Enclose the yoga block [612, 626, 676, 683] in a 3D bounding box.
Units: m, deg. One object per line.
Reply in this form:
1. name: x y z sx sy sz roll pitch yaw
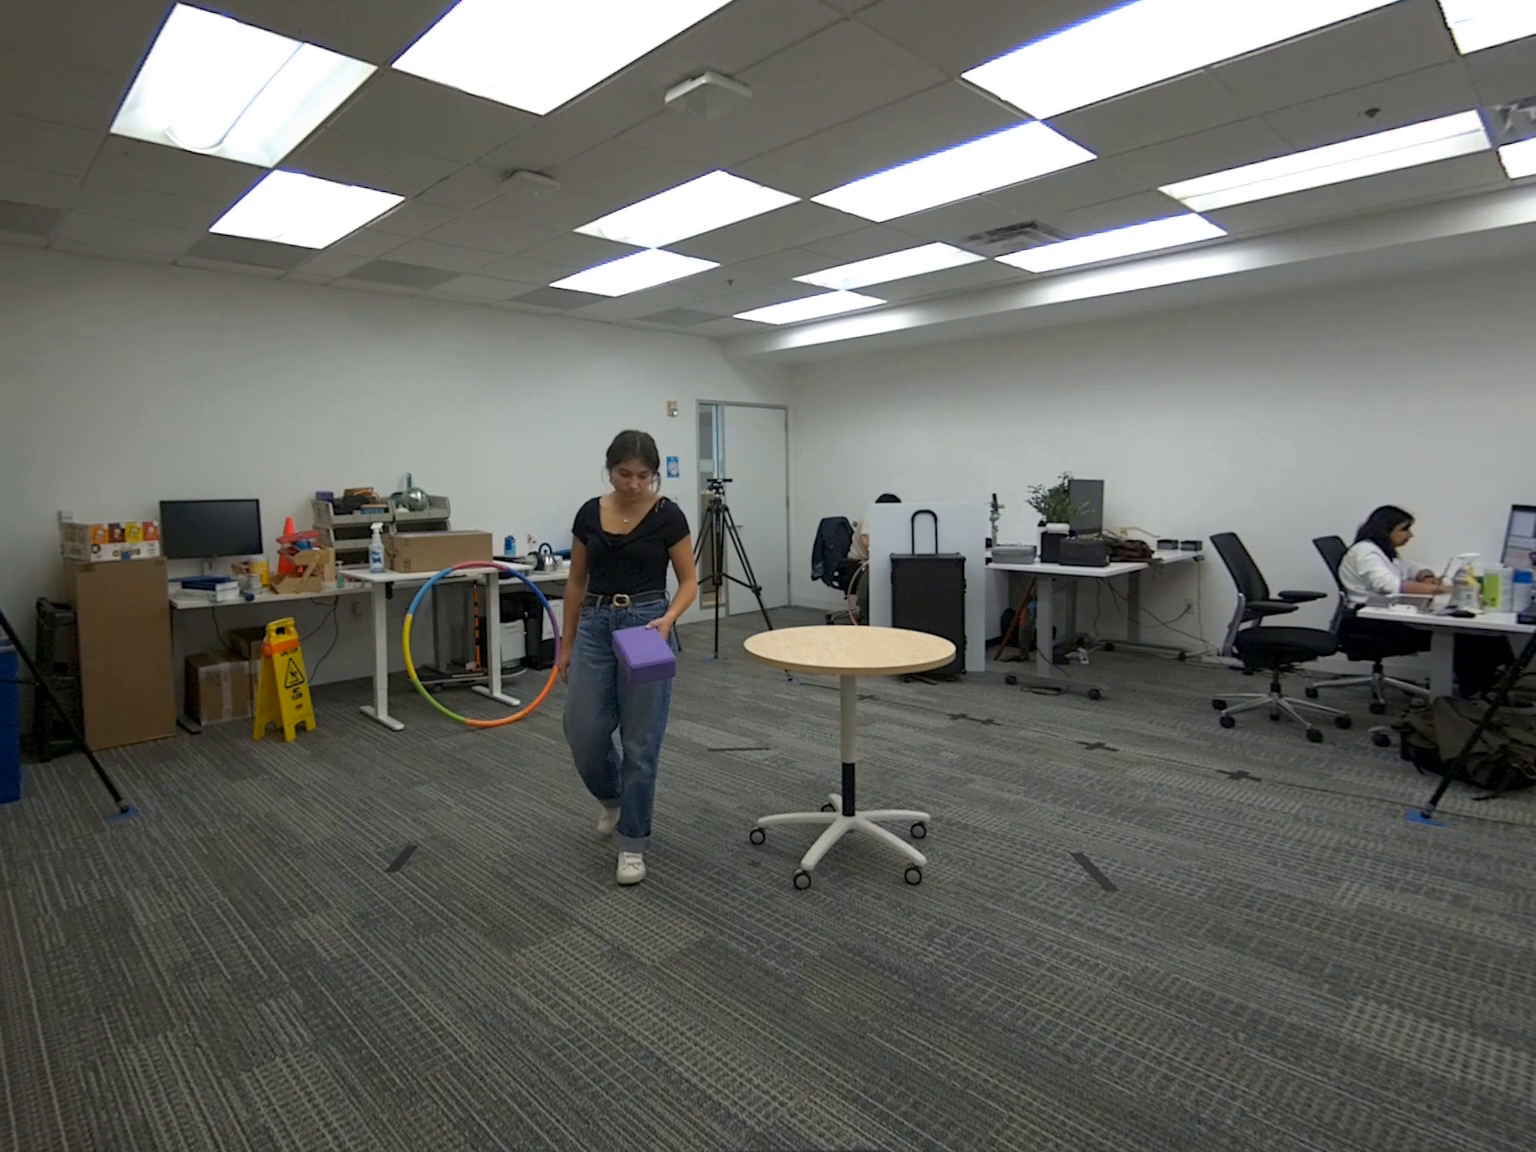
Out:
1. yoga block: -0.400 0.253 2.761 0.146 0.075 0.238 -9 27 -22
